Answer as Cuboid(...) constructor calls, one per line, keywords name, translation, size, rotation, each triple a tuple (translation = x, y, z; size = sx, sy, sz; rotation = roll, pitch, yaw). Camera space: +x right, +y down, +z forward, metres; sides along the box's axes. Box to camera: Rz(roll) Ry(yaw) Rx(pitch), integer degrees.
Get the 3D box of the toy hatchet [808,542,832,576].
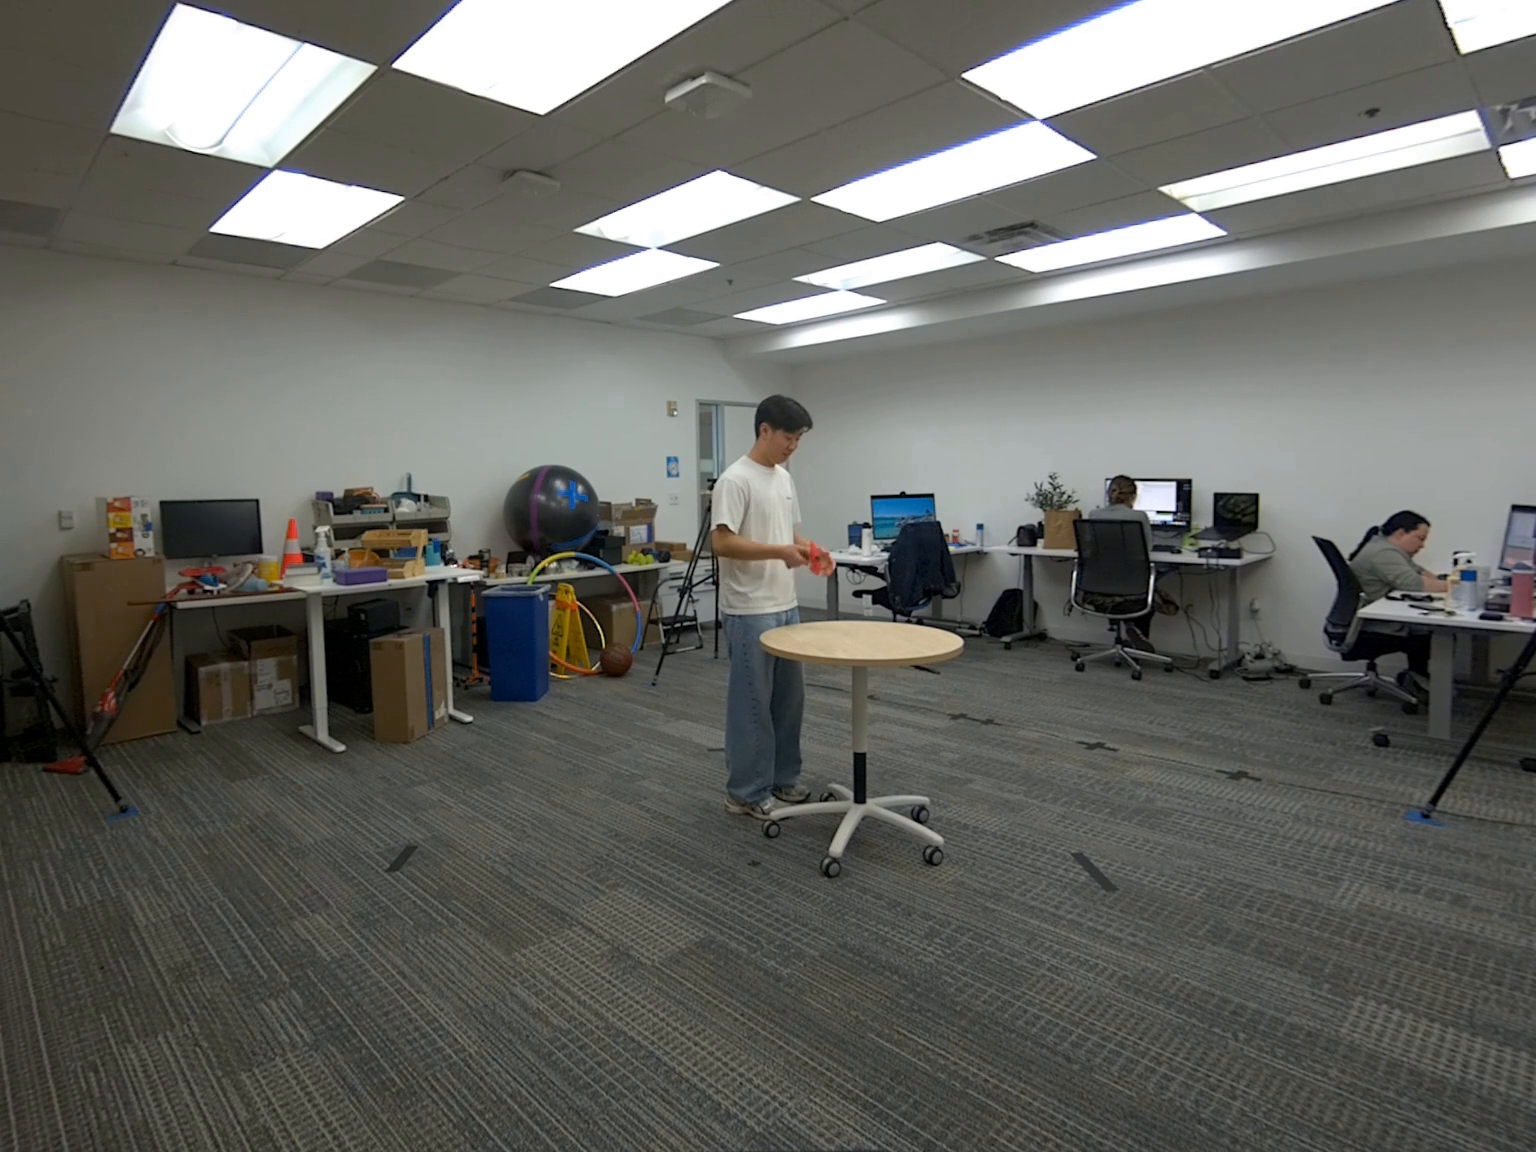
Cuboid(name="toy hatchet", translation=(0.153, -0.036, 3.334), size=(0.029, 0.134, 0.267), rotation=(-12, -19, -15))
